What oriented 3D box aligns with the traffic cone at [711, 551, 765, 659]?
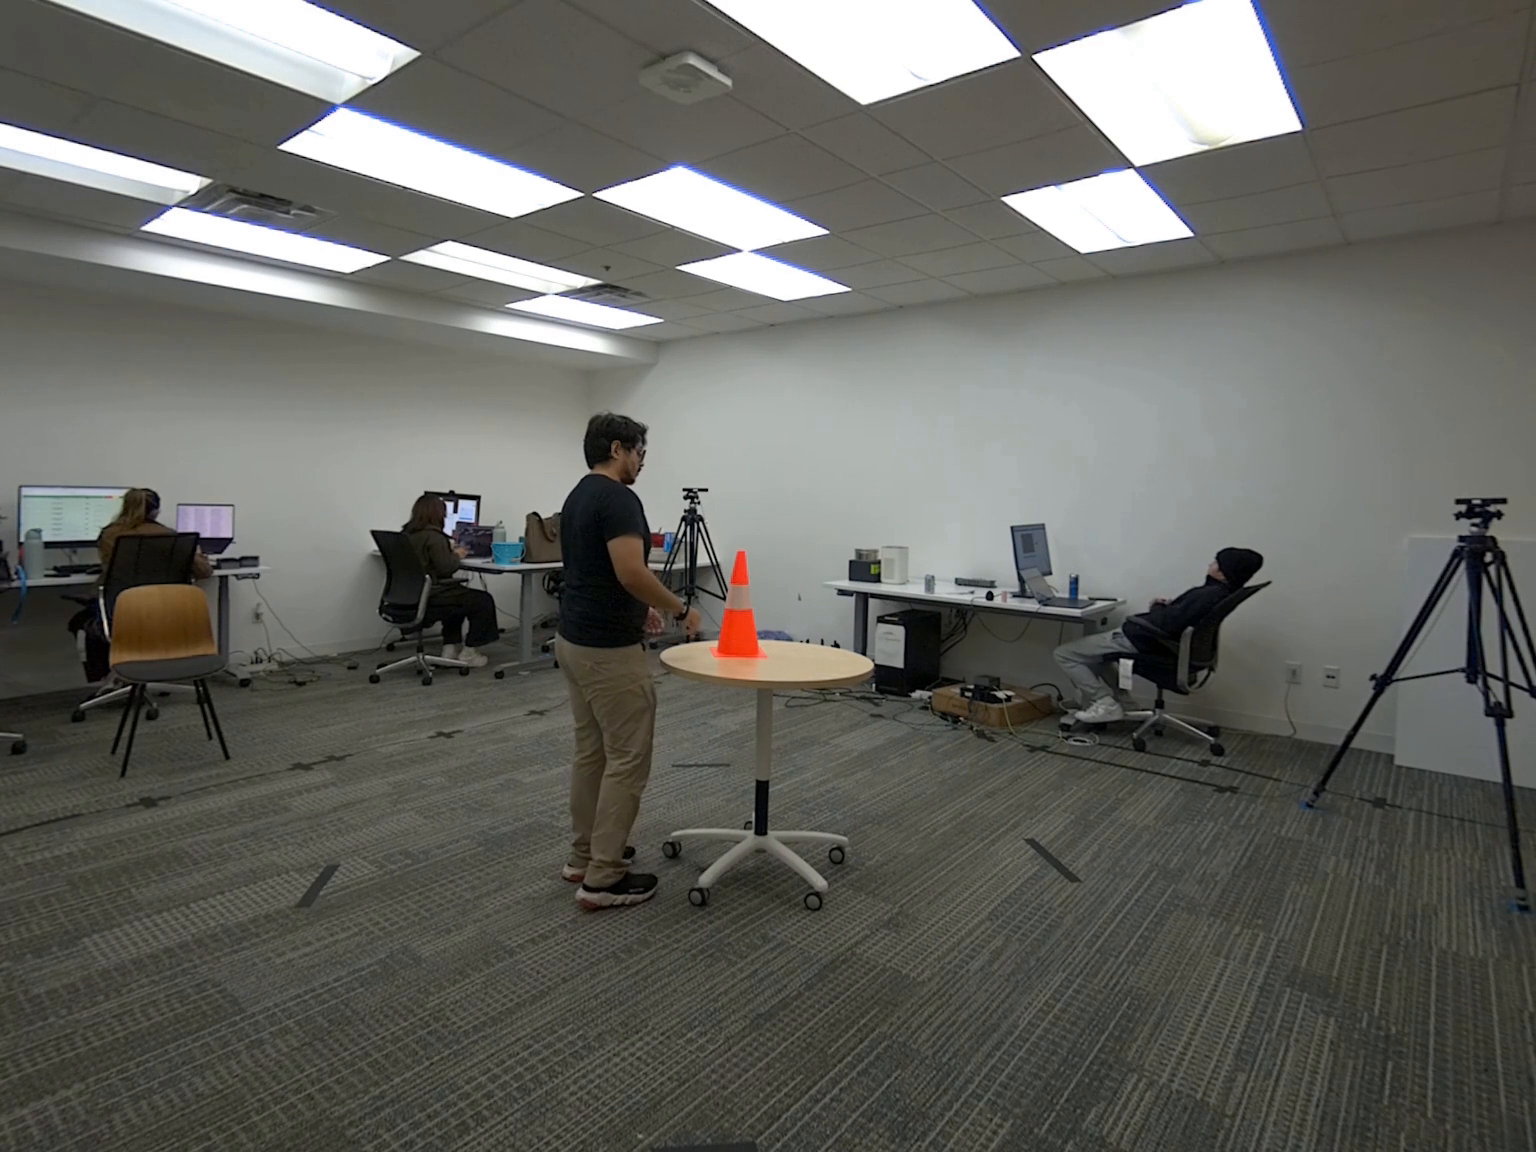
[{"bbox_3d":[-0.111,0.099,3.145,0.203,0.383,0.206,2,3,-11],"label":"traffic cone"}]
